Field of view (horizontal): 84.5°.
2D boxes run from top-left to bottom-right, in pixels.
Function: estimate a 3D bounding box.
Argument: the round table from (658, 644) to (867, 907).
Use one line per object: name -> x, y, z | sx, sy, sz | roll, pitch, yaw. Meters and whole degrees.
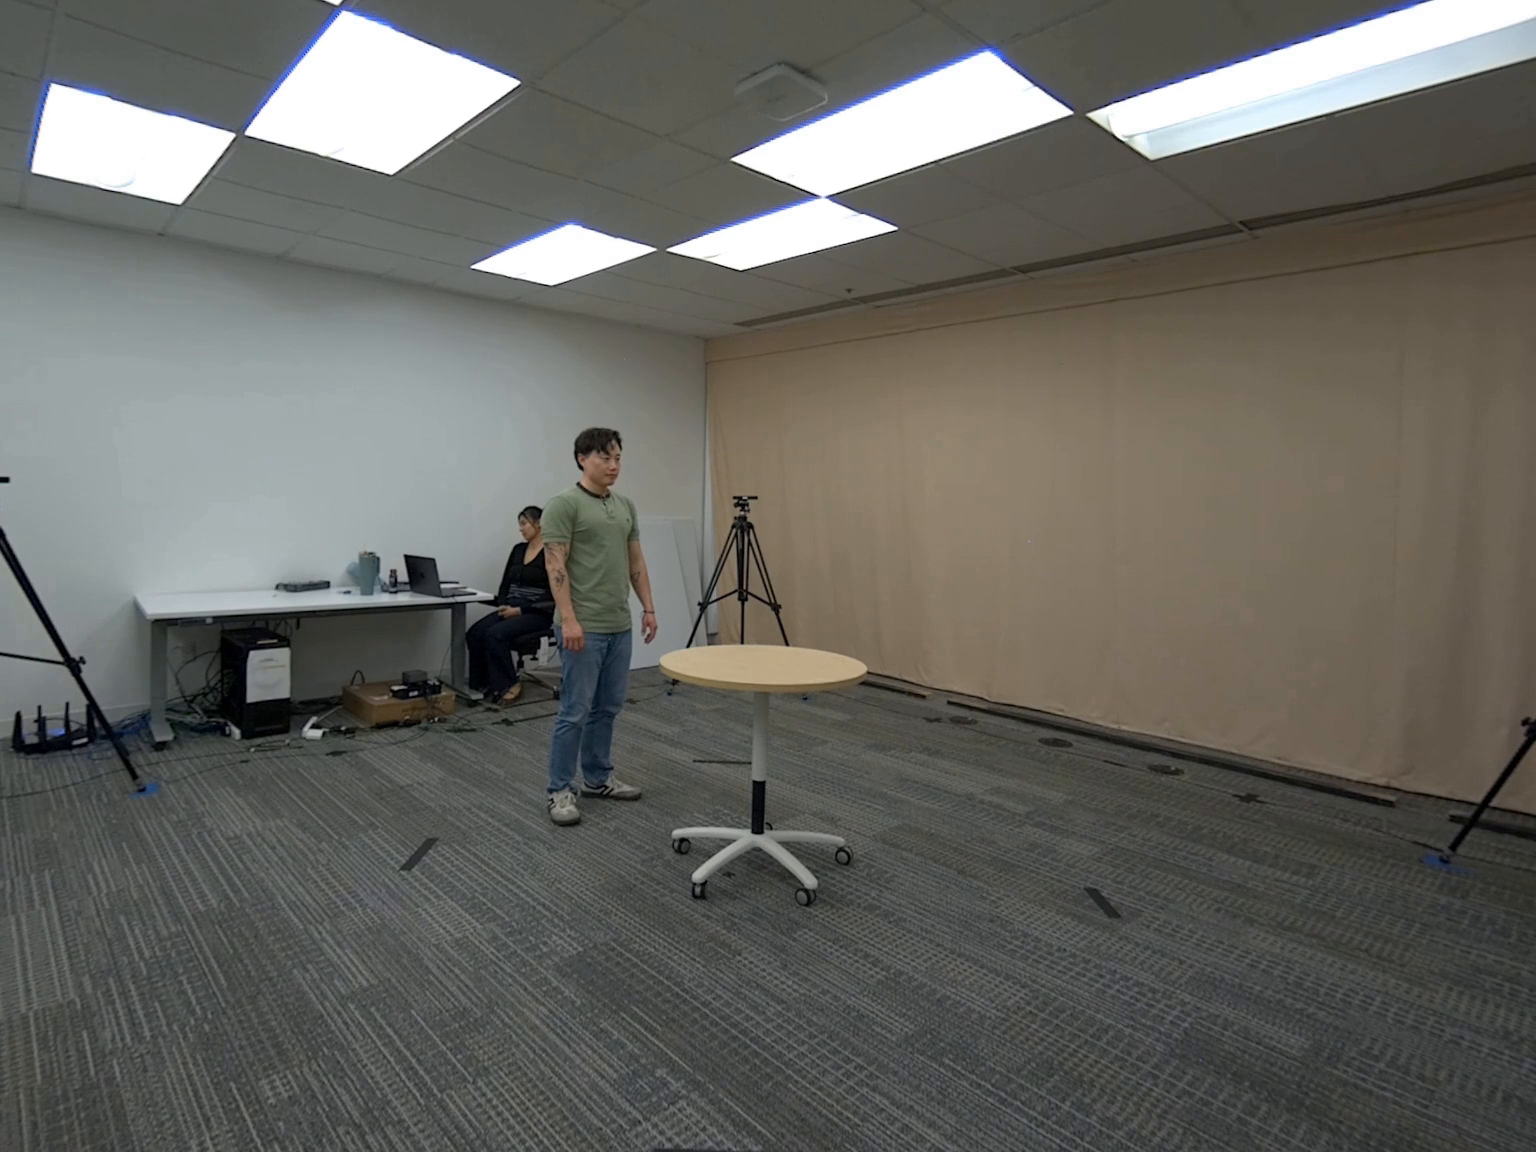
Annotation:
round table -> -0.037, 0.716, 3.131 | 0.763, 0.792, 0.766 | 1, 4, -1
